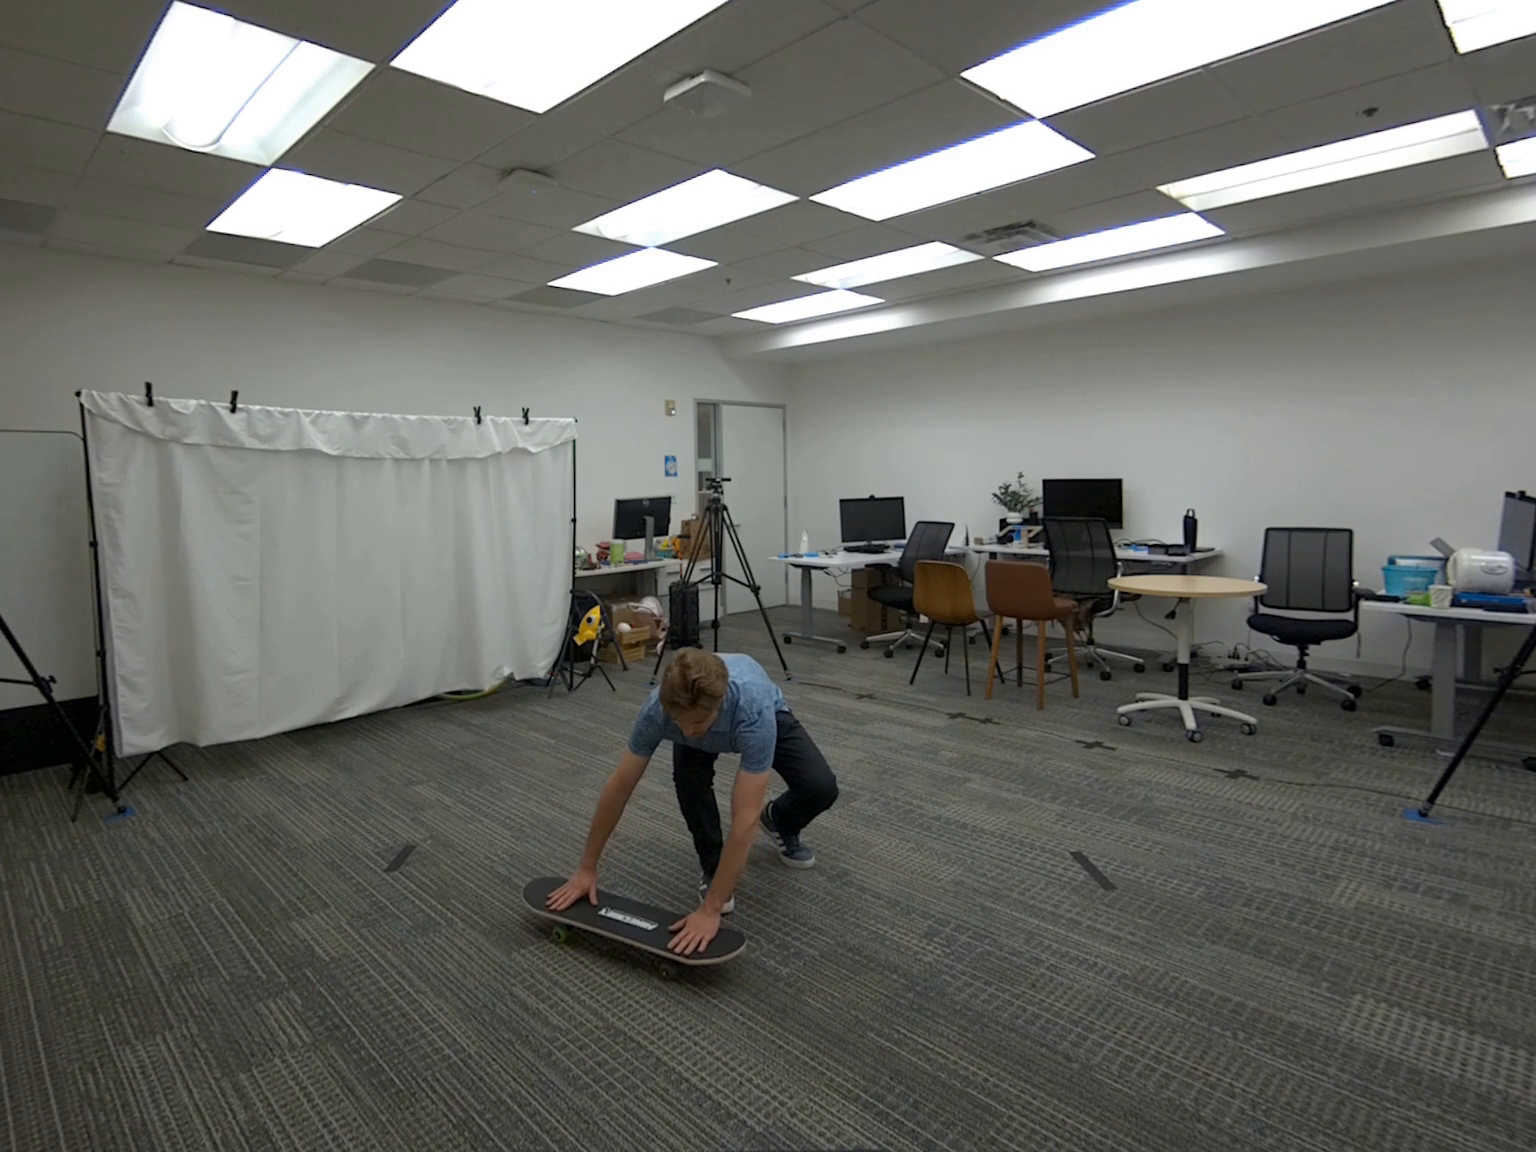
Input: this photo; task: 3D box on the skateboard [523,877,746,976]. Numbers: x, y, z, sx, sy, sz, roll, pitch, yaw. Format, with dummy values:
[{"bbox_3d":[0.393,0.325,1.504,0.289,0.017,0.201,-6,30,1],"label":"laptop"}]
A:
[{"bbox_3d":[-0.415,1.061,2.558,0.806,0.110,0.189,3,8,29],"label":"skateboard"}]
